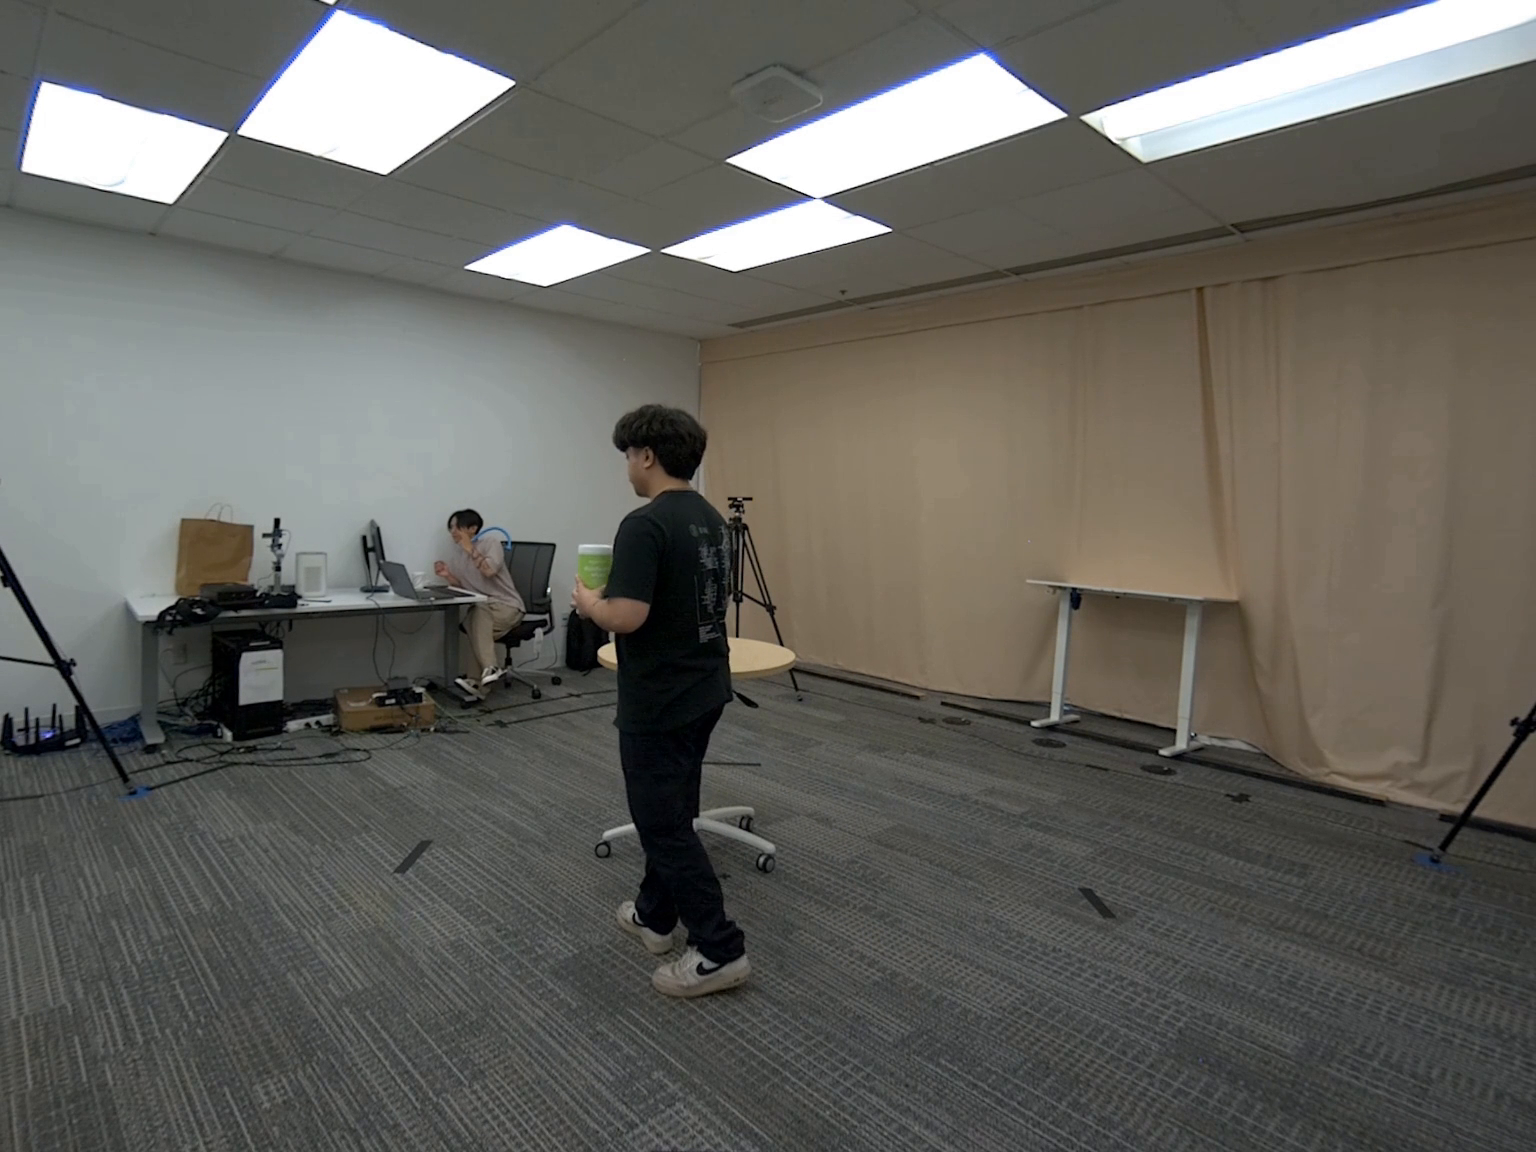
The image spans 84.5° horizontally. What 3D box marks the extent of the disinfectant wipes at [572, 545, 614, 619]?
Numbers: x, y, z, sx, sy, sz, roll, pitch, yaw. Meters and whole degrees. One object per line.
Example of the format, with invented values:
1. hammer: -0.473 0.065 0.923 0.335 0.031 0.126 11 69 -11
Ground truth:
1. disinfectant wipes: -0.528 0.016 2.594 0.118 0.217 0.118 1 1 -1
